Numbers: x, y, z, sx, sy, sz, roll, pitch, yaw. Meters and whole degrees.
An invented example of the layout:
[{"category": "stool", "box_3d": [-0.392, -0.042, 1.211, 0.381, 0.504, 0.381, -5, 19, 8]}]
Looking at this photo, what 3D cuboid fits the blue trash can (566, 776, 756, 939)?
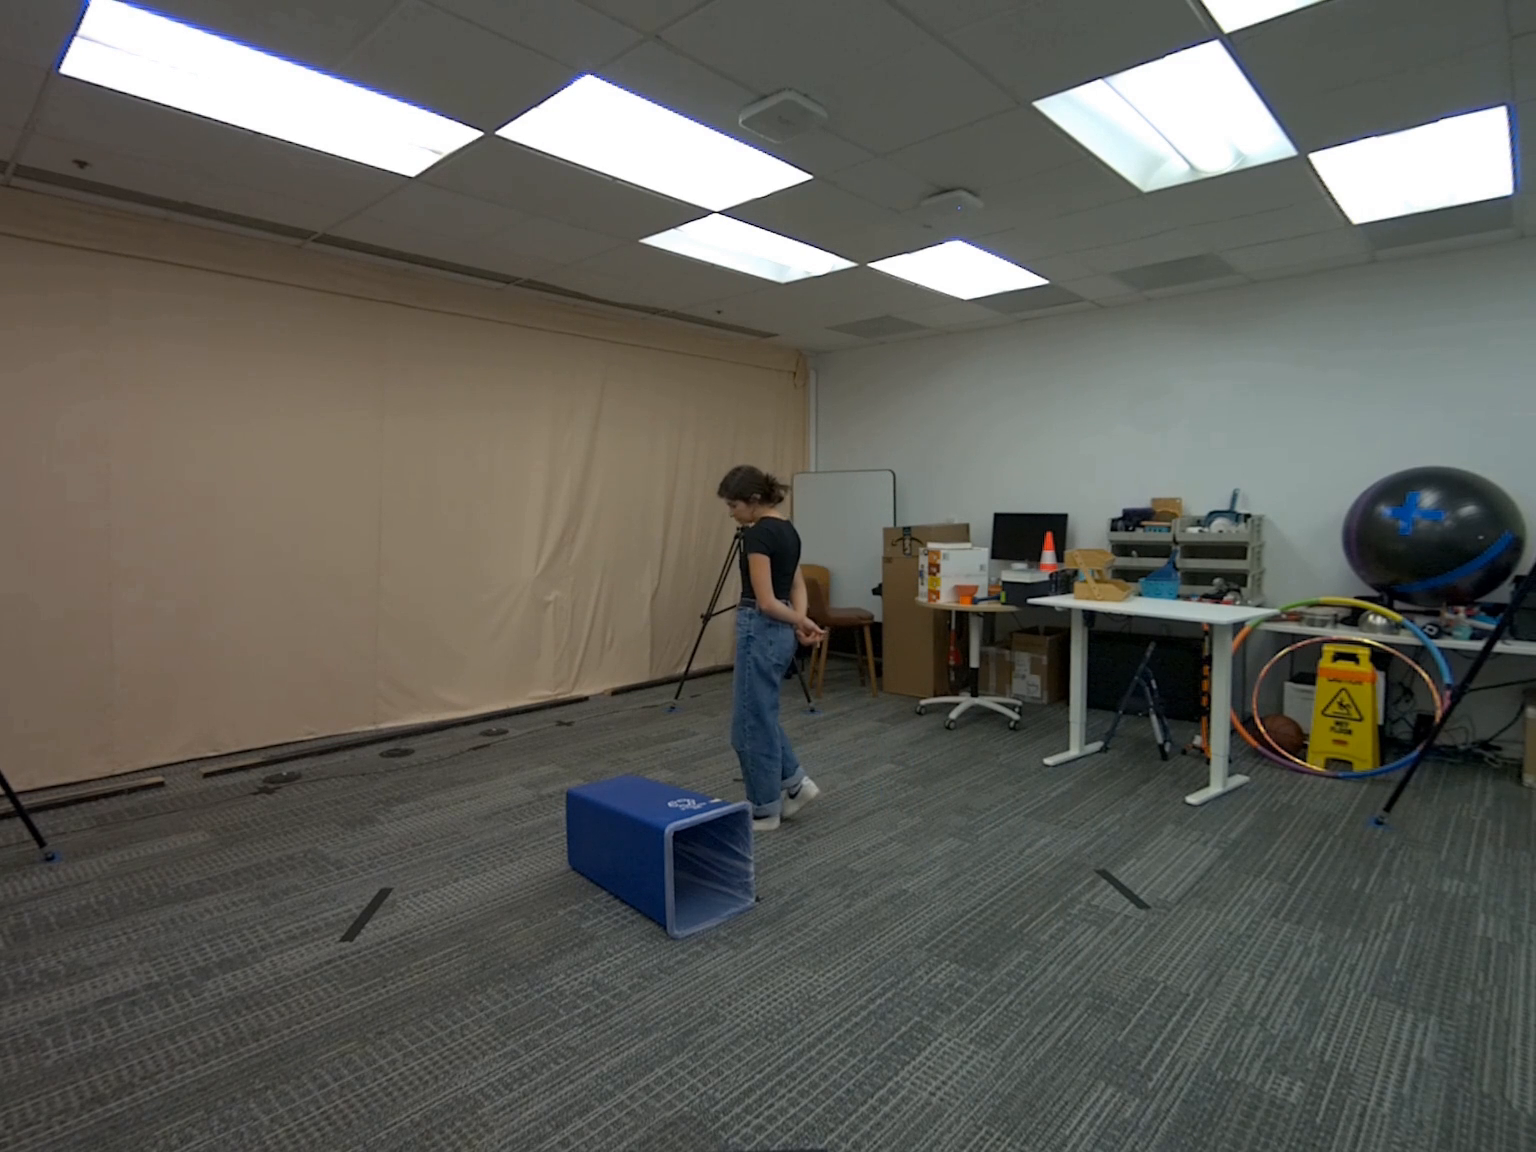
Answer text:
[{"category": "blue trash can", "box_3d": [-0.428, 0.973, 3.071, 0.363, 0.378, 0.736, -4, 3, -43]}]
